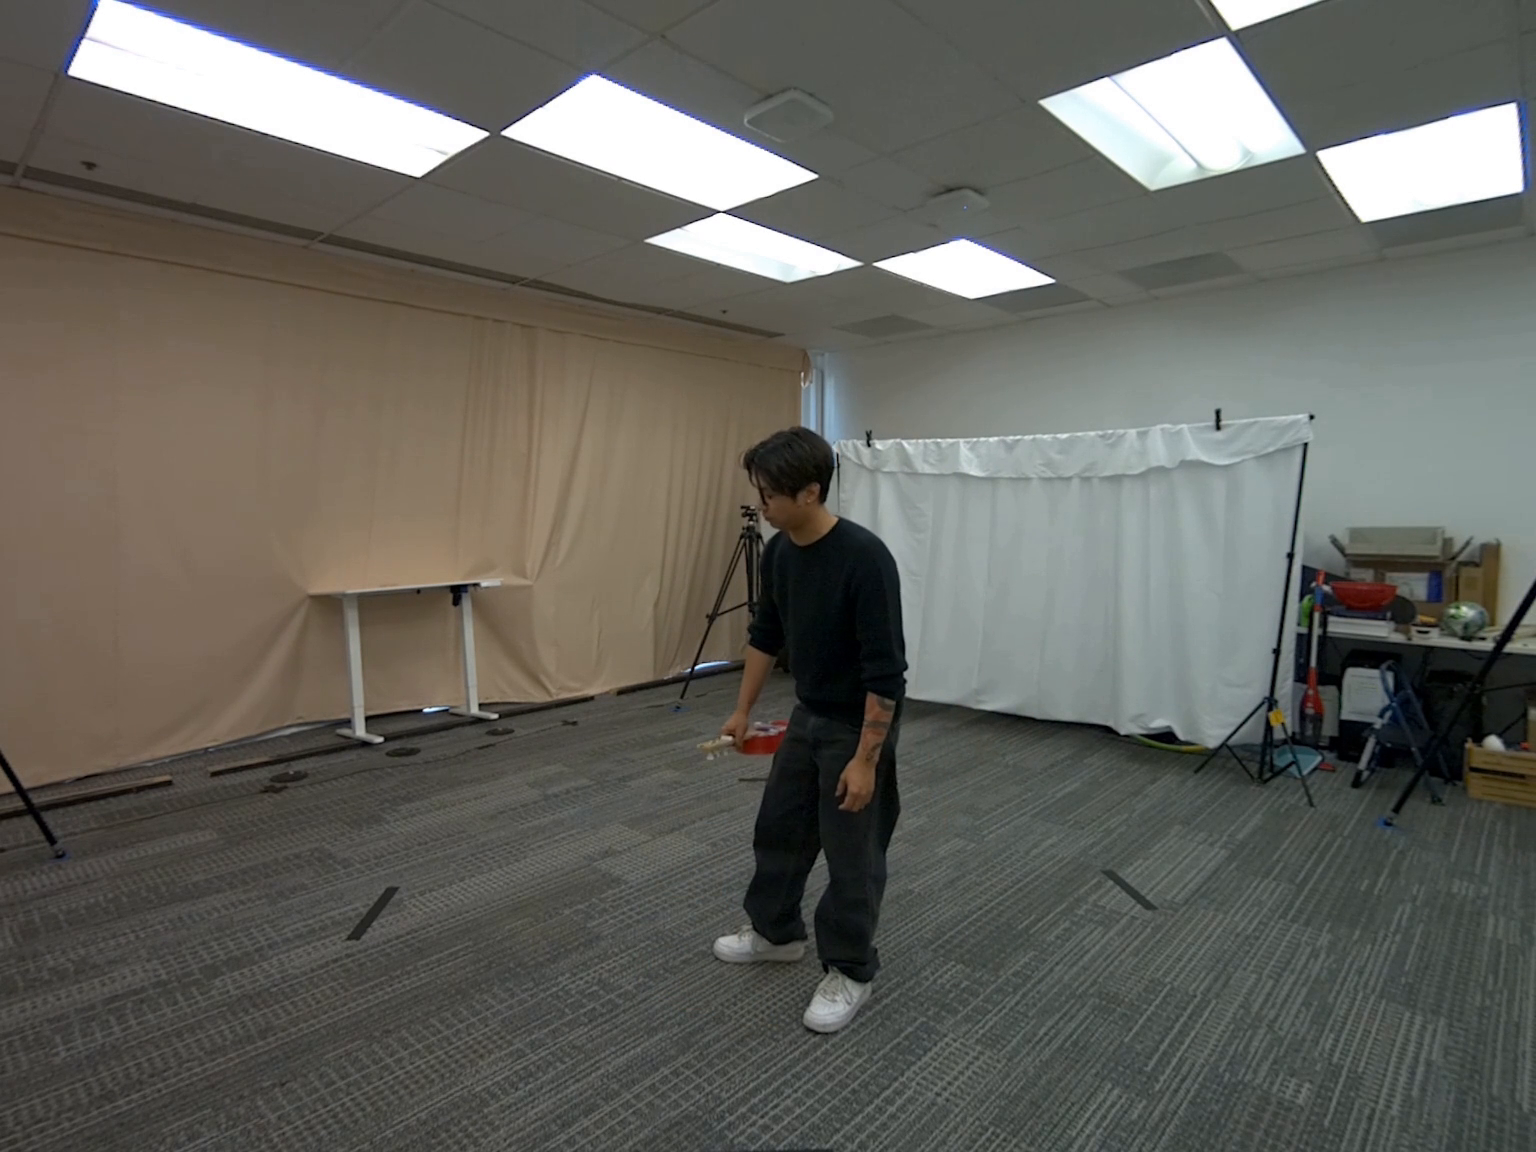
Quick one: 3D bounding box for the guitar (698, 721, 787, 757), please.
[{"bbox_3d":[-0.074,0.521,2.630,0.199,0.071,0.482,-1,0,43],"label":"guitar"}]
